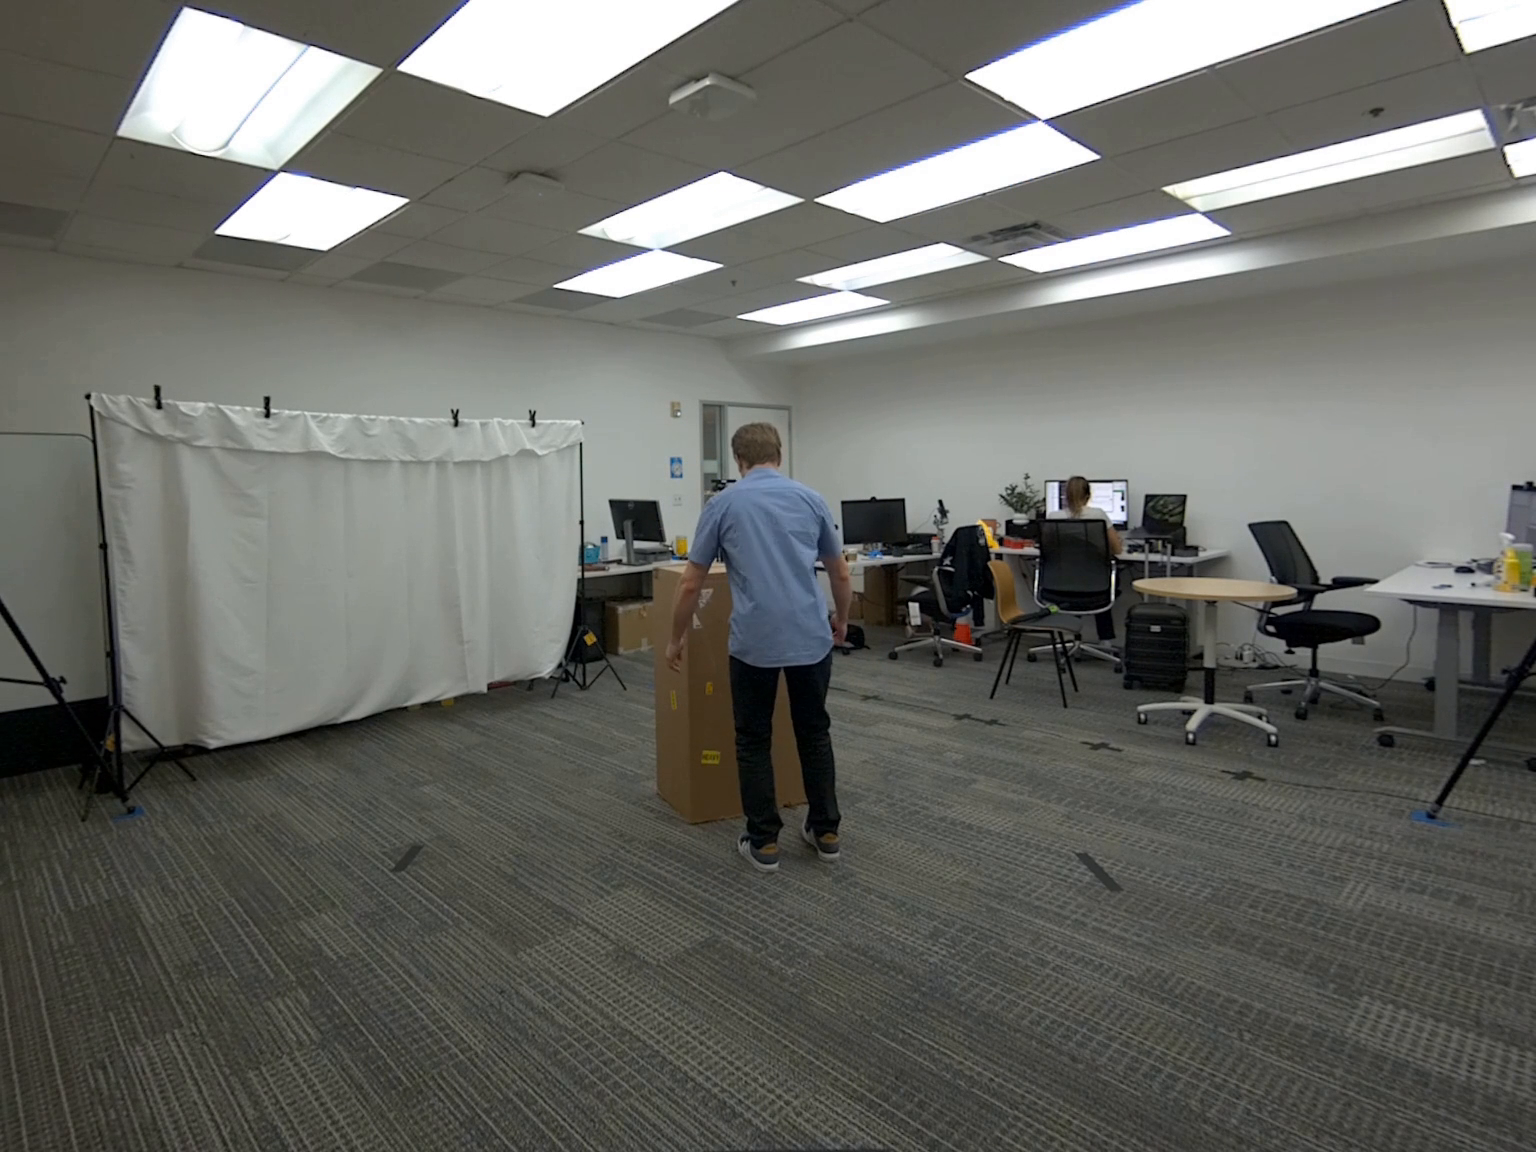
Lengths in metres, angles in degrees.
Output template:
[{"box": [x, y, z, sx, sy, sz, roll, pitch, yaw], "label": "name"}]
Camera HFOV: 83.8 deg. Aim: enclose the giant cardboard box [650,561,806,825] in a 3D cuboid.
[{"box": [-0.161, 0.469, 3.746, 0.565, 1.023, 0.436, -2, 3, -26], "label": "giant cardboard box"}]
